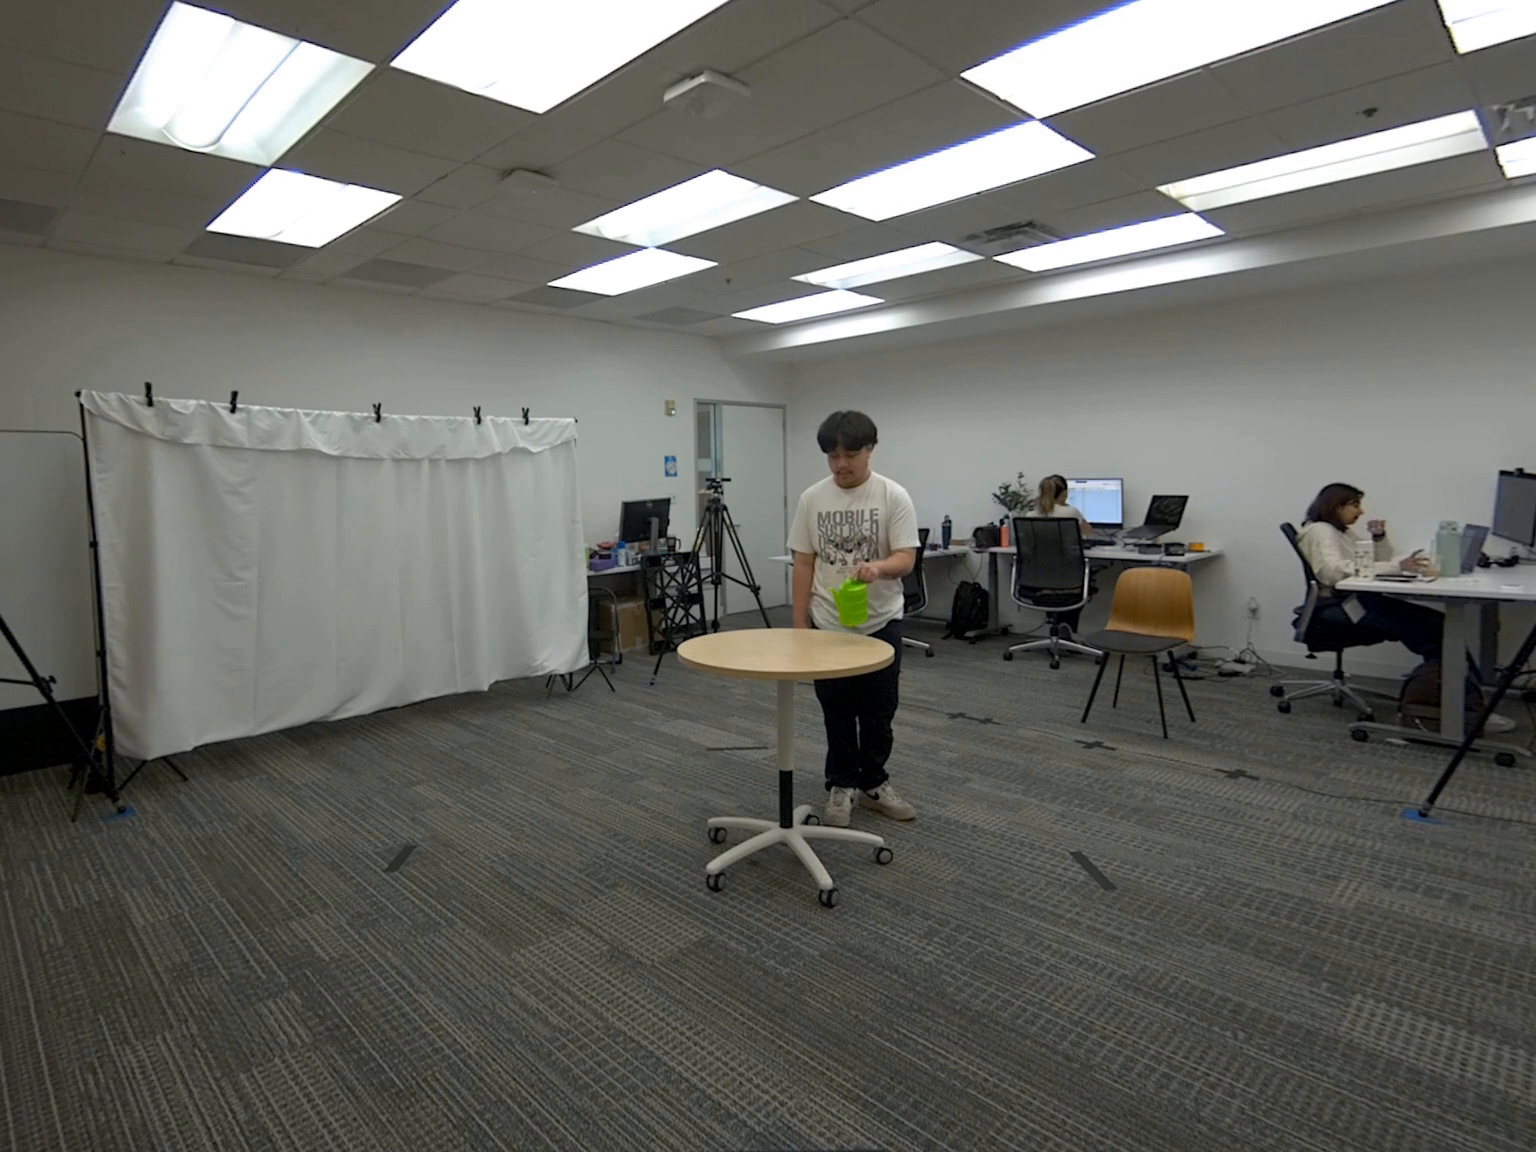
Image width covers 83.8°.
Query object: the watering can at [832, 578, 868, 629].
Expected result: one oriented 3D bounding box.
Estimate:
[{"bbox_3d":[0.278,0.089,3.051,0.101,0.174,0.273,13,22,43],"label":"watering can"}]
